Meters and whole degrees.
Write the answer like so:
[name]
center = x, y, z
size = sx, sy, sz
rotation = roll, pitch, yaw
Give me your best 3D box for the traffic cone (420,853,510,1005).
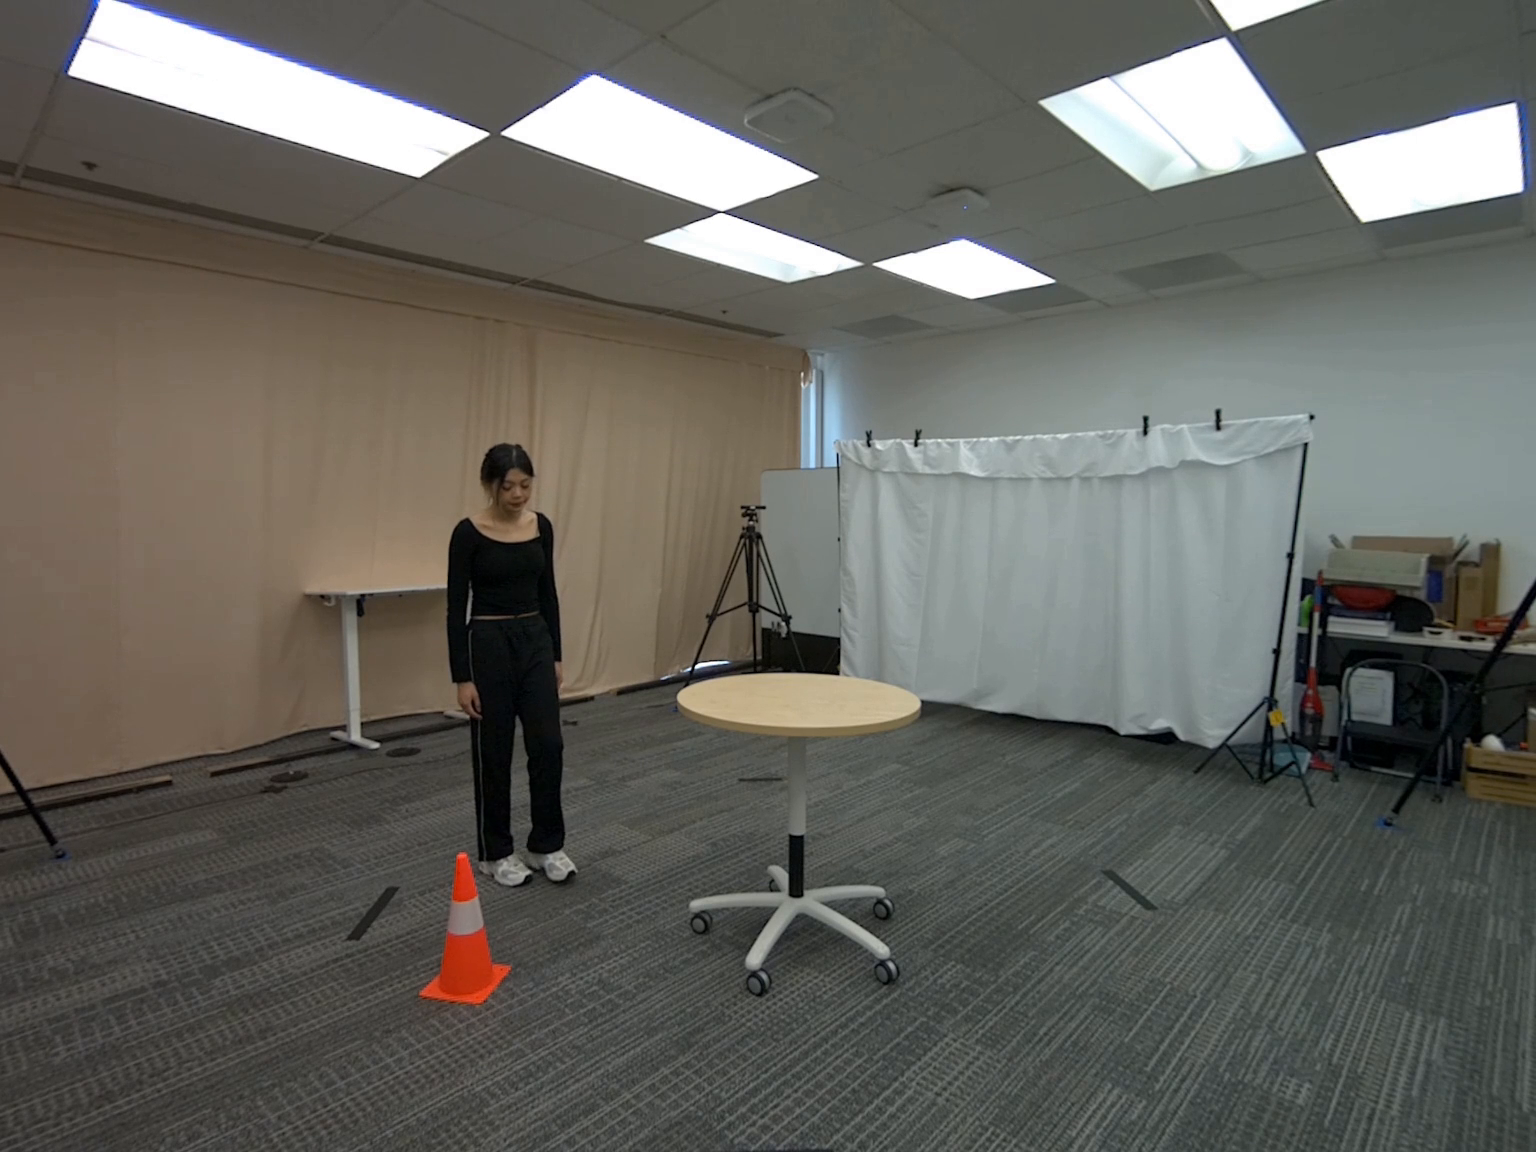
[traffic cone]
center = -0.886, 1.005, 2.467
size = 0.207, 0.383, 0.201
rotation = 0, 2, 9
